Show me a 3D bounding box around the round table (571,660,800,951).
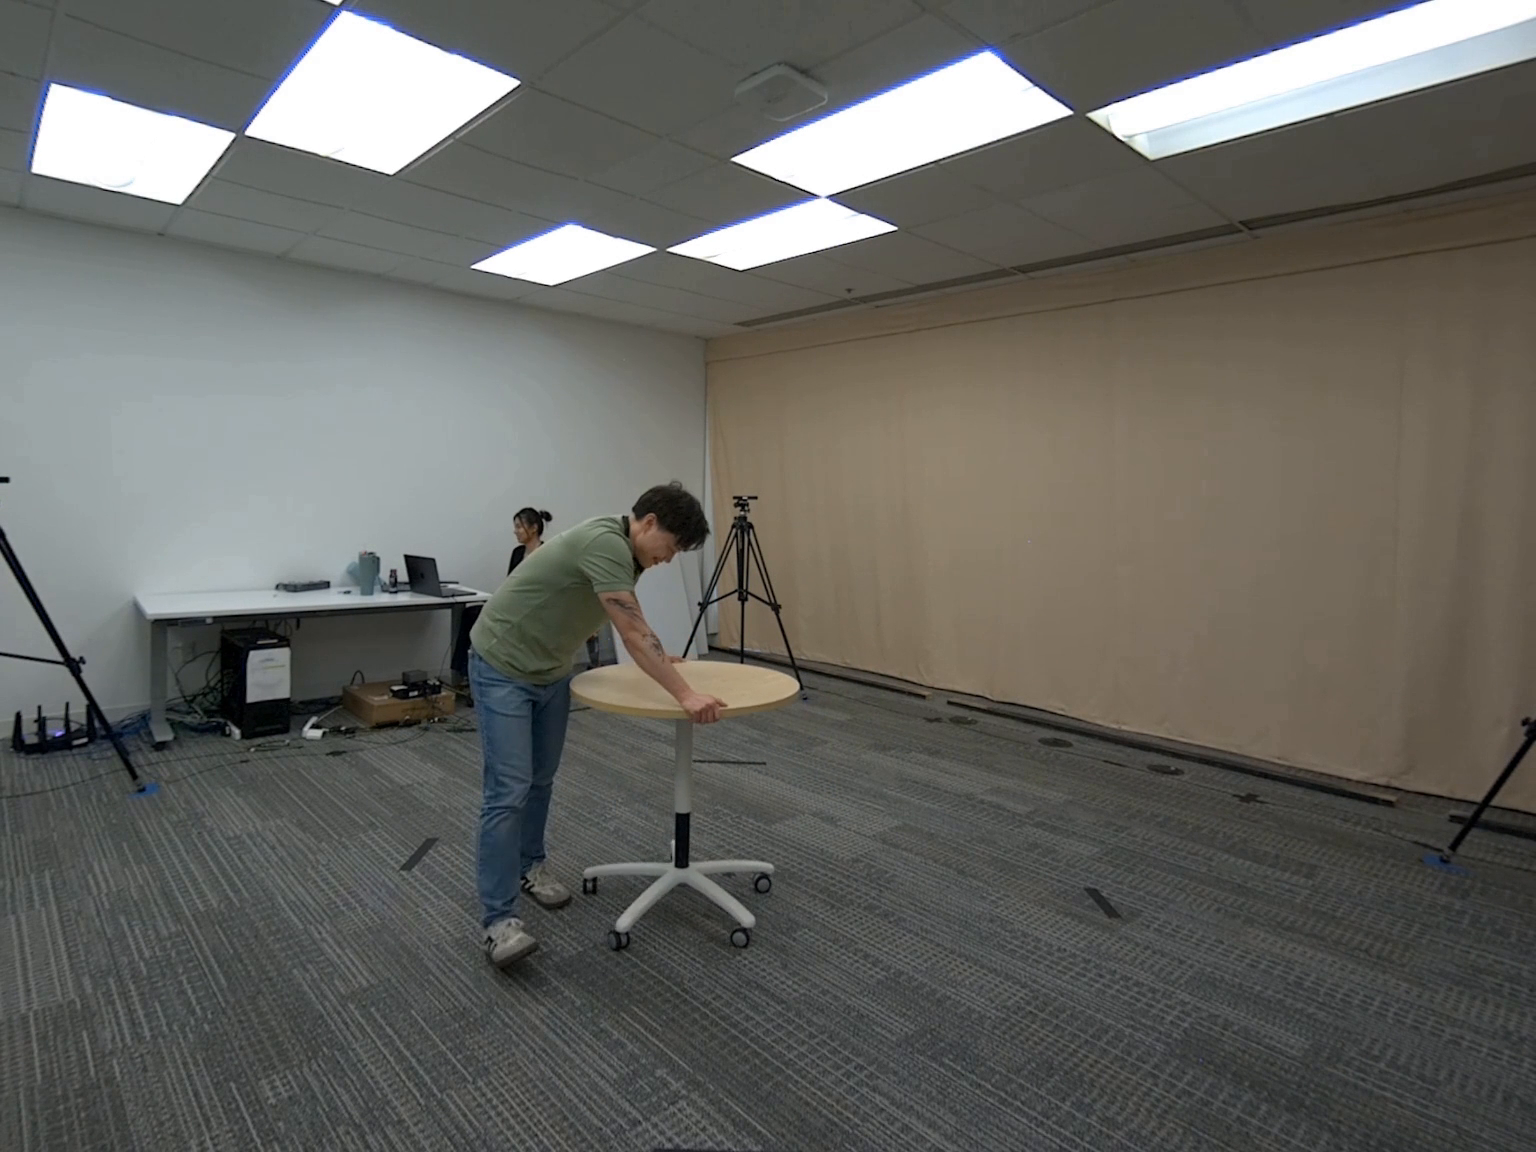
[{"bbox_3d":[-0.292,0.741,2.833,0.763,0.792,0.766,1,4,-1],"label":"round table"}]
